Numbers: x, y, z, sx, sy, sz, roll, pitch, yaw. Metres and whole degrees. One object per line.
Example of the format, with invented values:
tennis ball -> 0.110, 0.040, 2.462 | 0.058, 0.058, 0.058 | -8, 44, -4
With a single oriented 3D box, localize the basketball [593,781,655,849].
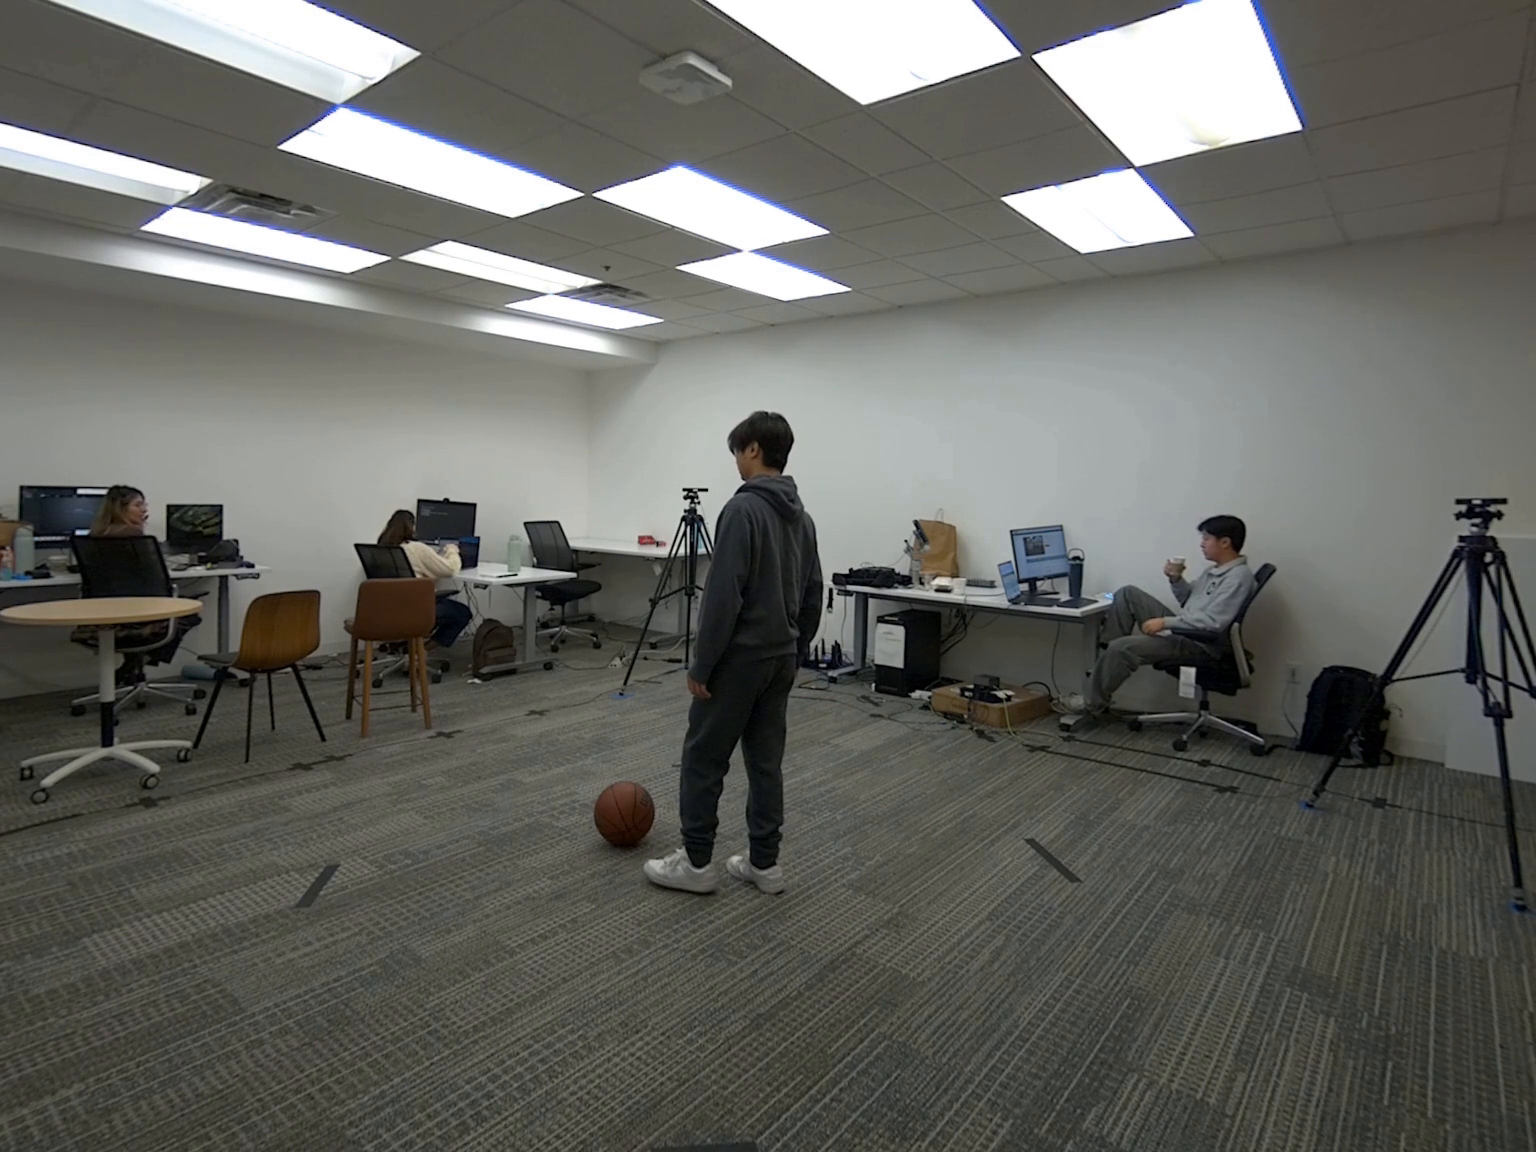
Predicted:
basketball -> -0.572, 0.919, 3.323 | 0.235, 0.235, 0.237 | 1, 4, -2
